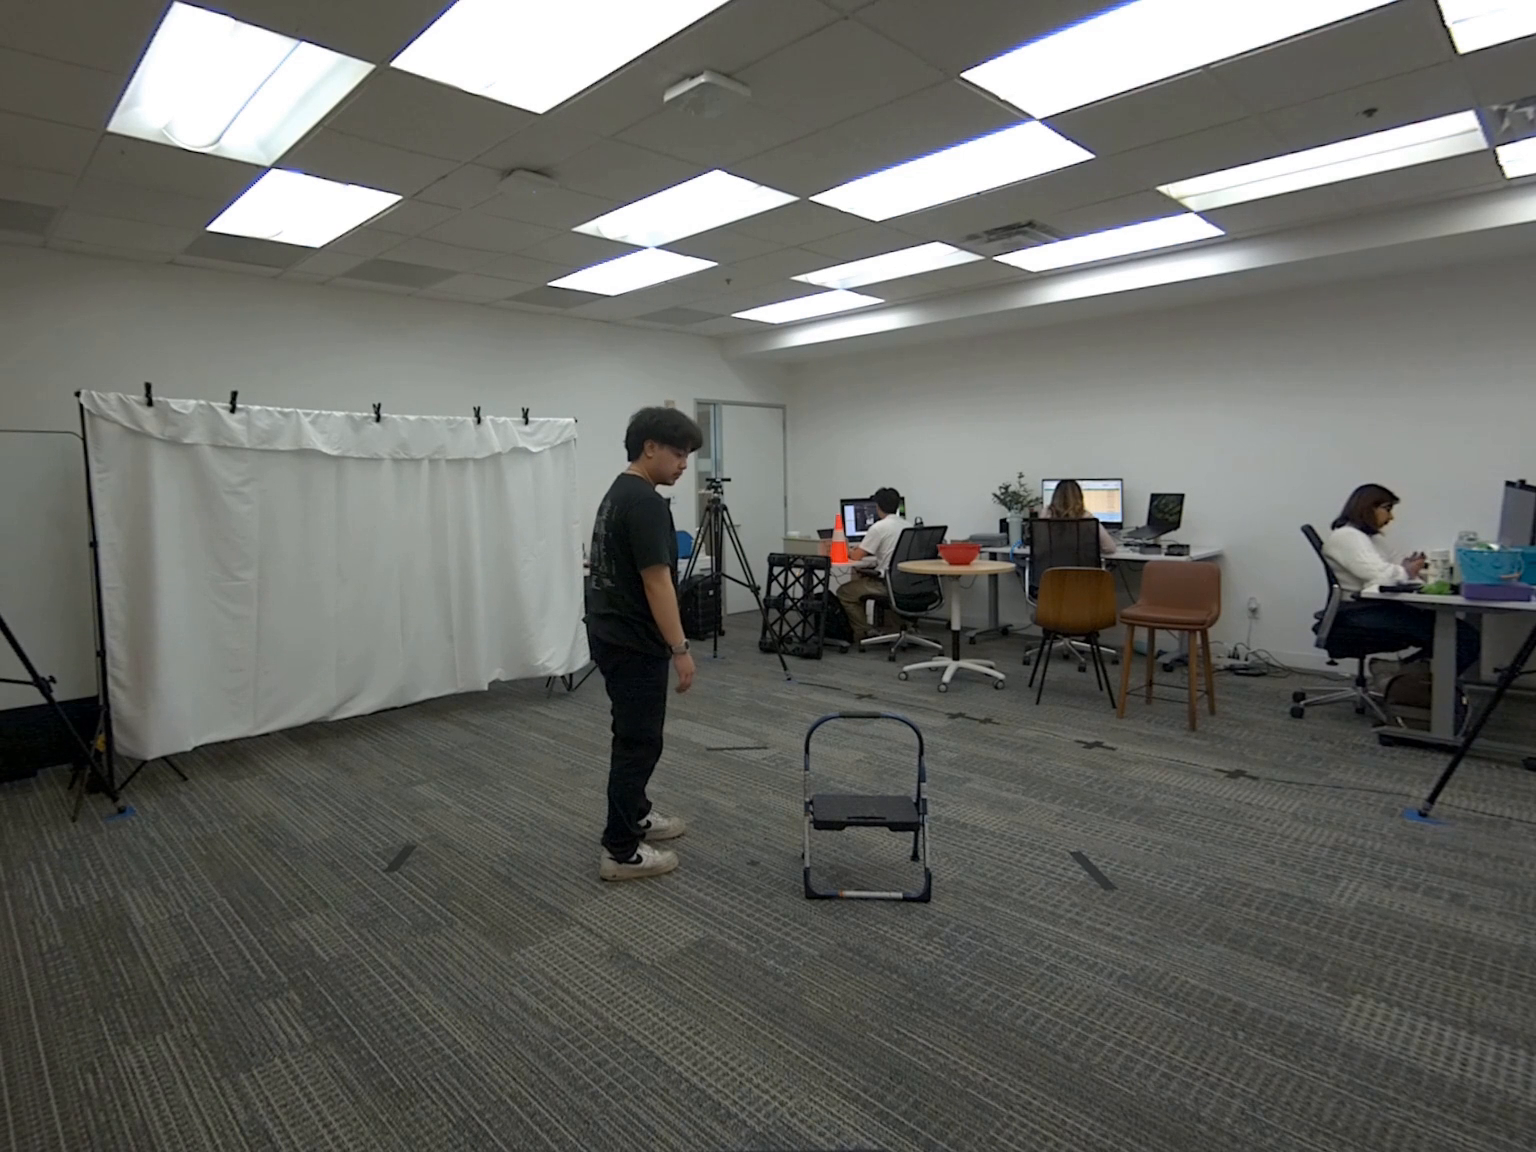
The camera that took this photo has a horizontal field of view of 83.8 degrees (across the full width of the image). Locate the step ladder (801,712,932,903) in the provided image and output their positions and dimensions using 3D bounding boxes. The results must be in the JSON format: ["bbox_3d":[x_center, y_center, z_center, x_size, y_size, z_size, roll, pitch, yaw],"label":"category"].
[{"bbox_3d":[0.329,0.746,2.958,0.432,0.604,0.349,-1,4,3],"label":"step ladder"}]
